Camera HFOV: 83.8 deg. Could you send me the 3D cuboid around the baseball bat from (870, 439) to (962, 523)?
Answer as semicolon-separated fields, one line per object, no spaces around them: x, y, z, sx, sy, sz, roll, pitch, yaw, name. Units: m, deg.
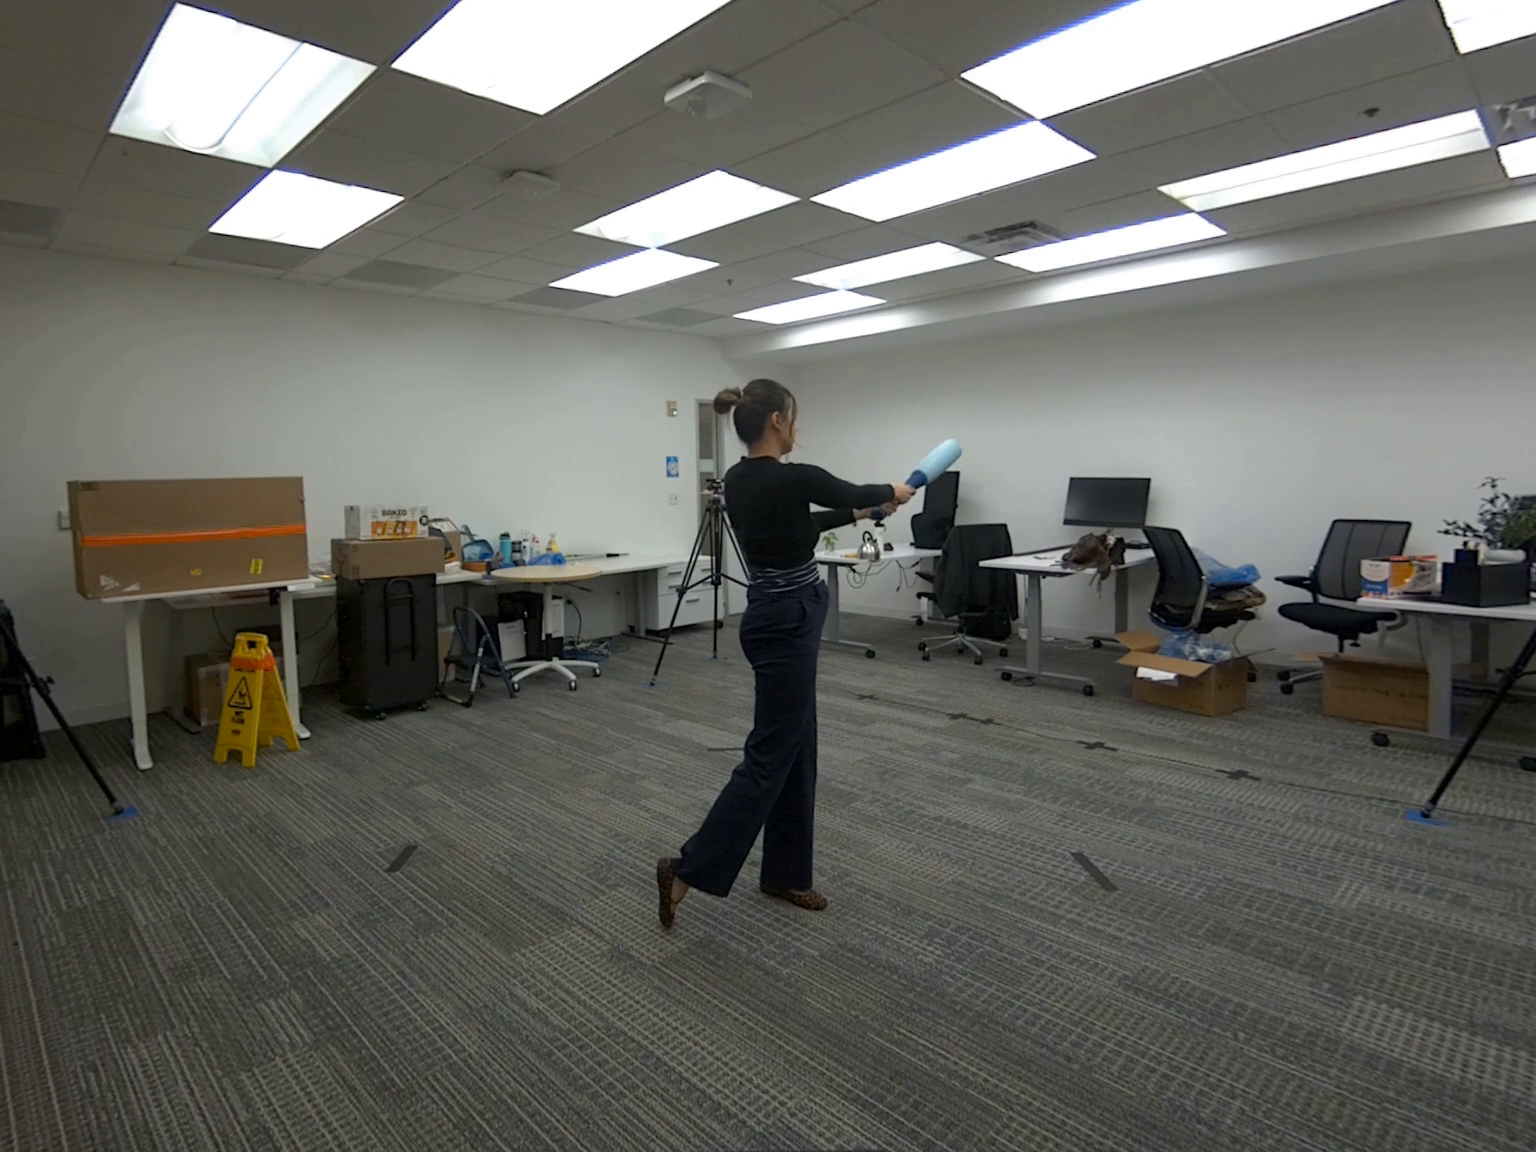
0.553;-0.328;3.126;0.092;0.087;0.540;4;36;47;baseball bat
